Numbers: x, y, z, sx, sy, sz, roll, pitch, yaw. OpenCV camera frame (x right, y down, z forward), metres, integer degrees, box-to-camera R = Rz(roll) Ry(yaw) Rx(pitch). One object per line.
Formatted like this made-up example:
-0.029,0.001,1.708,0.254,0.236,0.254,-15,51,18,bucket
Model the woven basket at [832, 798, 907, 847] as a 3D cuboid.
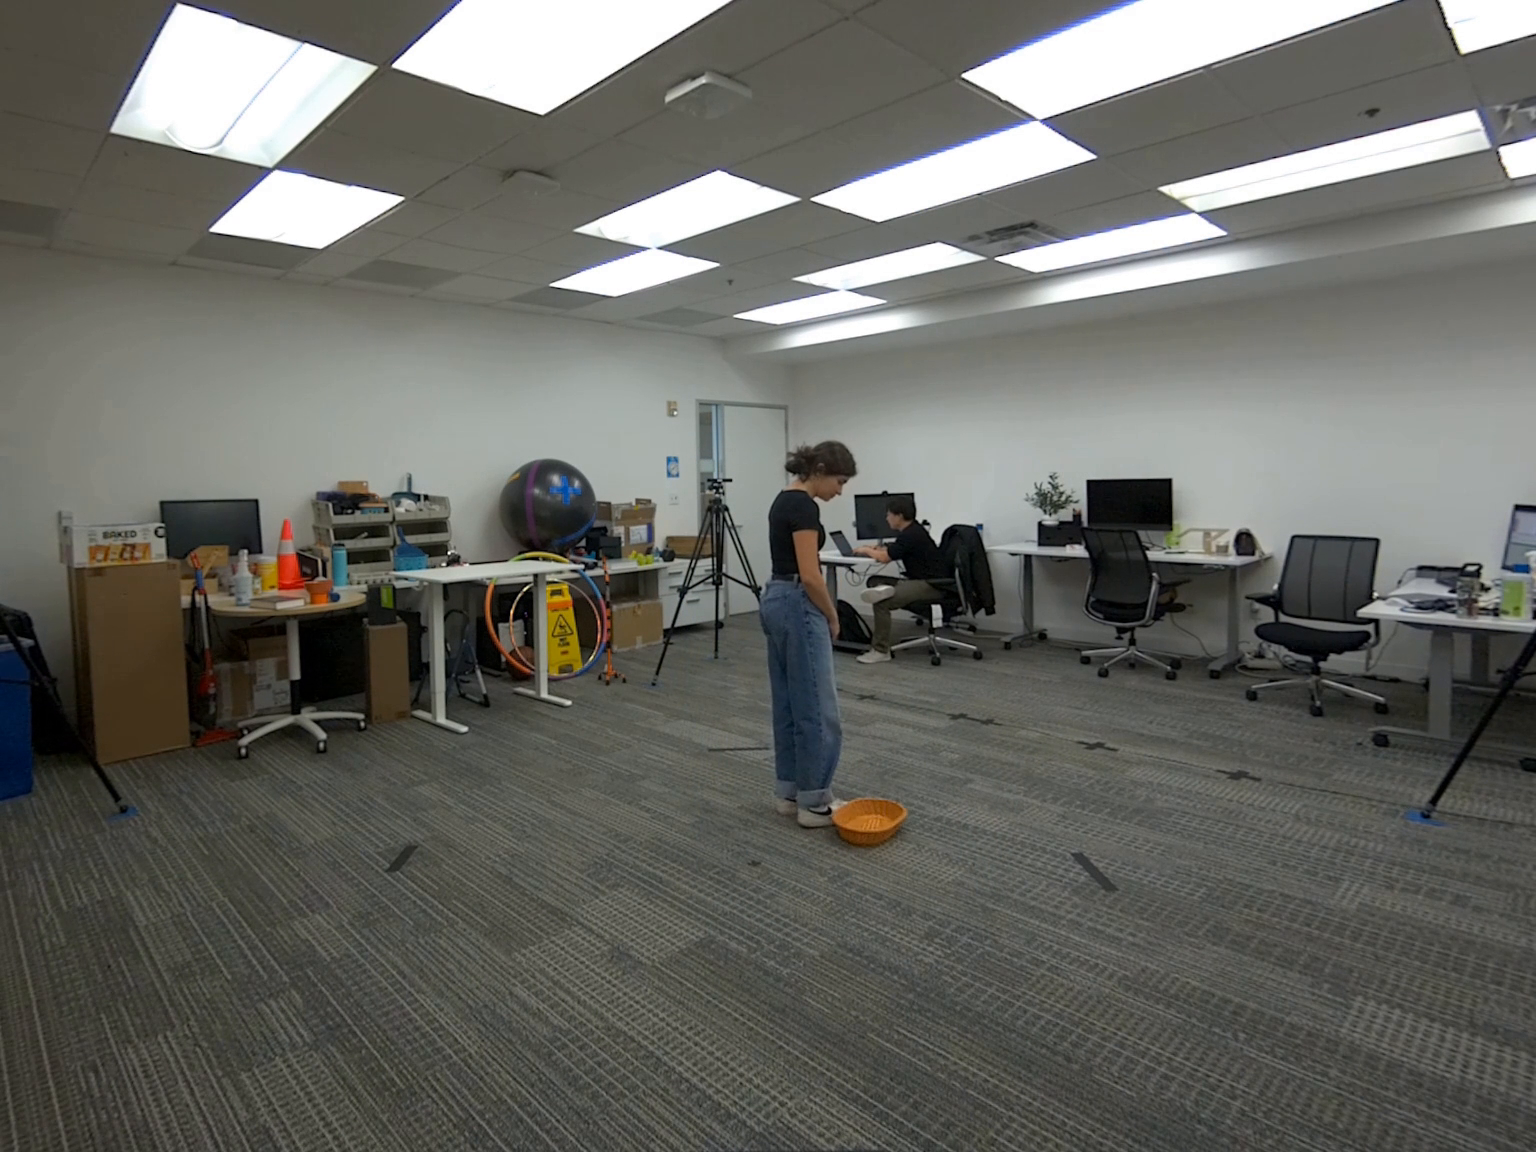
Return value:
0.395,0.964,3.362,0.260,0.073,0.341,7,9,41,woven basket
